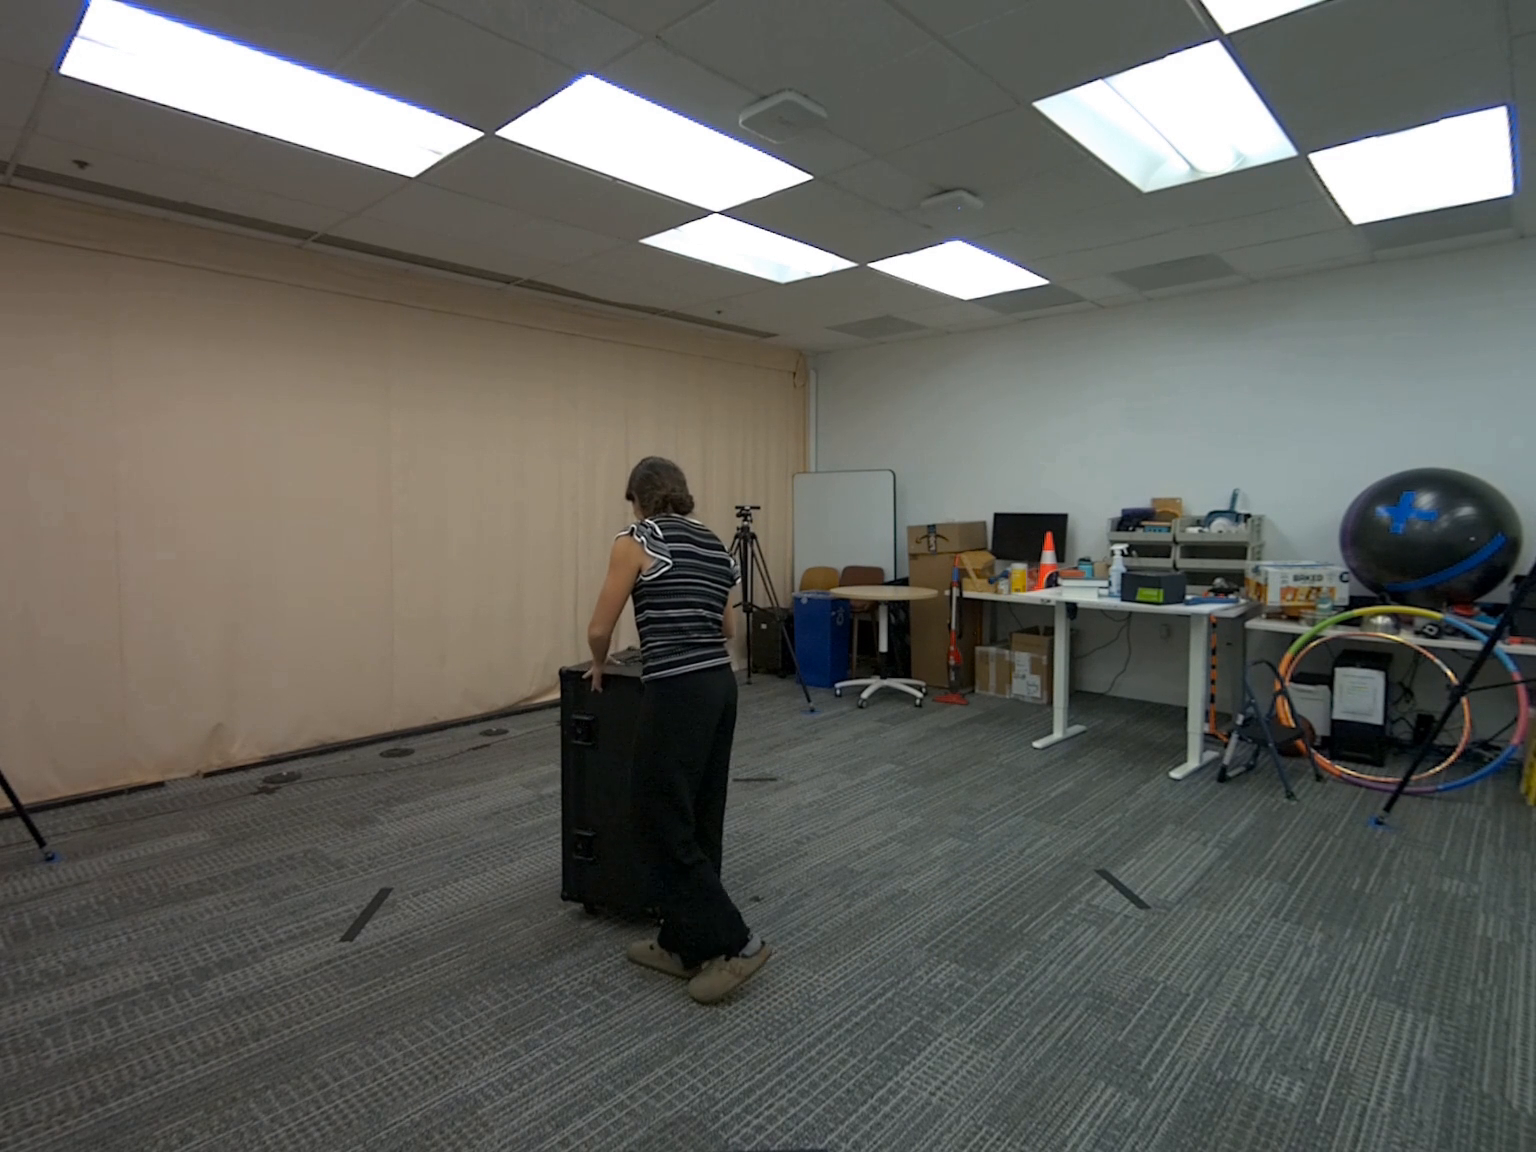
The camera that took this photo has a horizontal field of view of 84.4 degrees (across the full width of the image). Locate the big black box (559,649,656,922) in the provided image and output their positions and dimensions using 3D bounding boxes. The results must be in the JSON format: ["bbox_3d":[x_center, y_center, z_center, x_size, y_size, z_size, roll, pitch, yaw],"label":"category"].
[{"bbox_3d":[-0.440,0.723,2.969,0.405,0.860,0.510,1,3,21],"label":"big black box"}]
